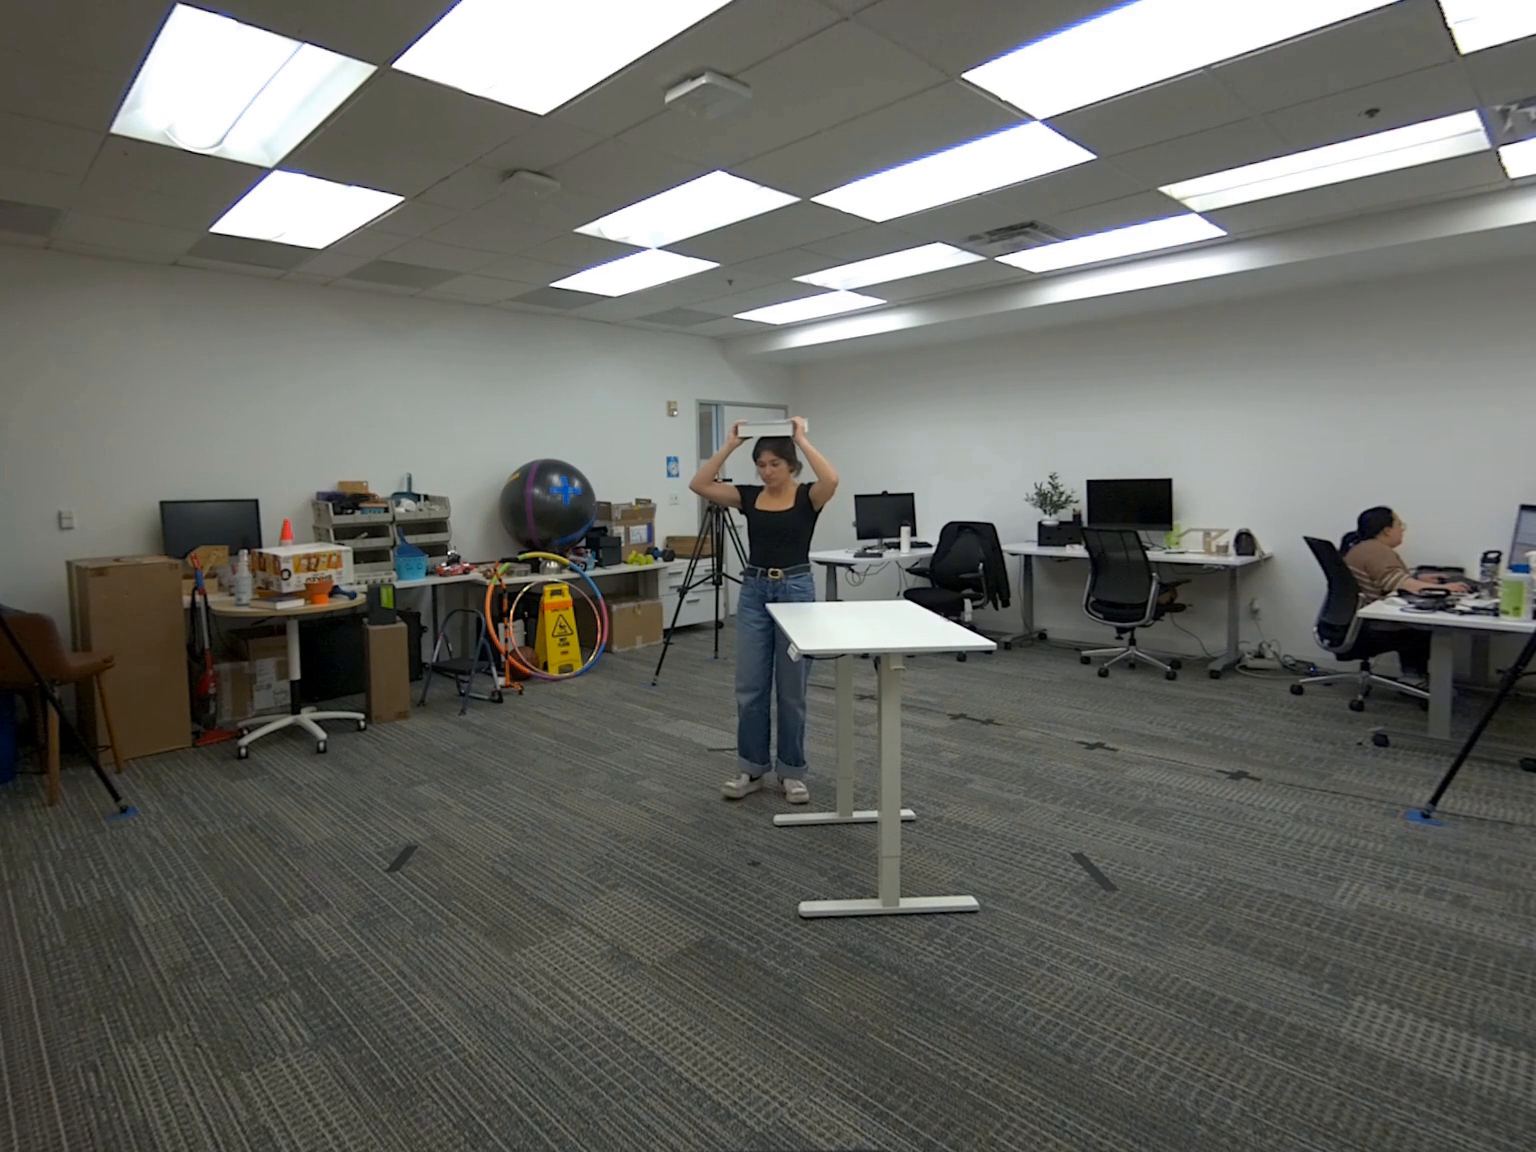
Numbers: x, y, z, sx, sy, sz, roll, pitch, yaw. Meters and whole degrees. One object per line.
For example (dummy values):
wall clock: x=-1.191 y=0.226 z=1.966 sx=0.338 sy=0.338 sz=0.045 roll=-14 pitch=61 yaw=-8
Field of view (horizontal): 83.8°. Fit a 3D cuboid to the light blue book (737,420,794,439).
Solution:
light blue book: x=0.025 y=-0.648 z=3.730 sx=0.267 sy=0.058 sz=0.189 roll=3 pitch=15 yaw=25
